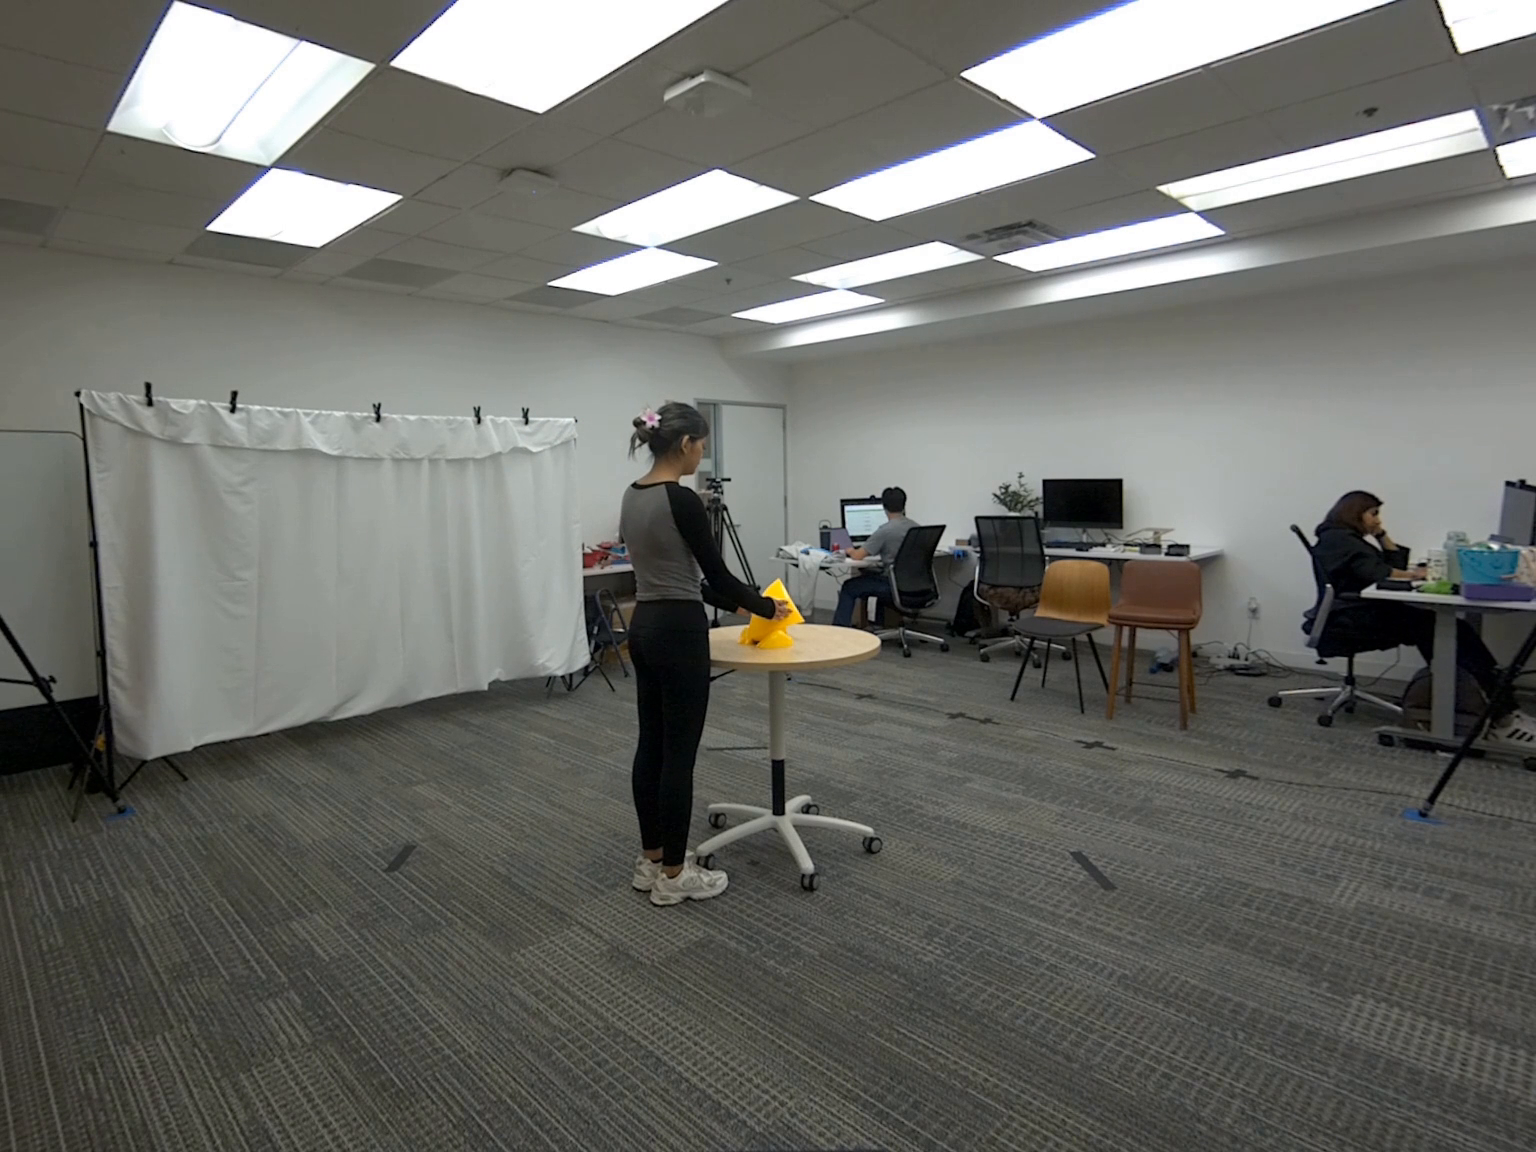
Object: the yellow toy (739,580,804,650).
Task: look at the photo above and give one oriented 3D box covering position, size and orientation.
[{"bbox_3d":[-0.005,0.131,3.122,0.188,0.230,0.211,-6,6,-40],"label":"yellow toy"}]
